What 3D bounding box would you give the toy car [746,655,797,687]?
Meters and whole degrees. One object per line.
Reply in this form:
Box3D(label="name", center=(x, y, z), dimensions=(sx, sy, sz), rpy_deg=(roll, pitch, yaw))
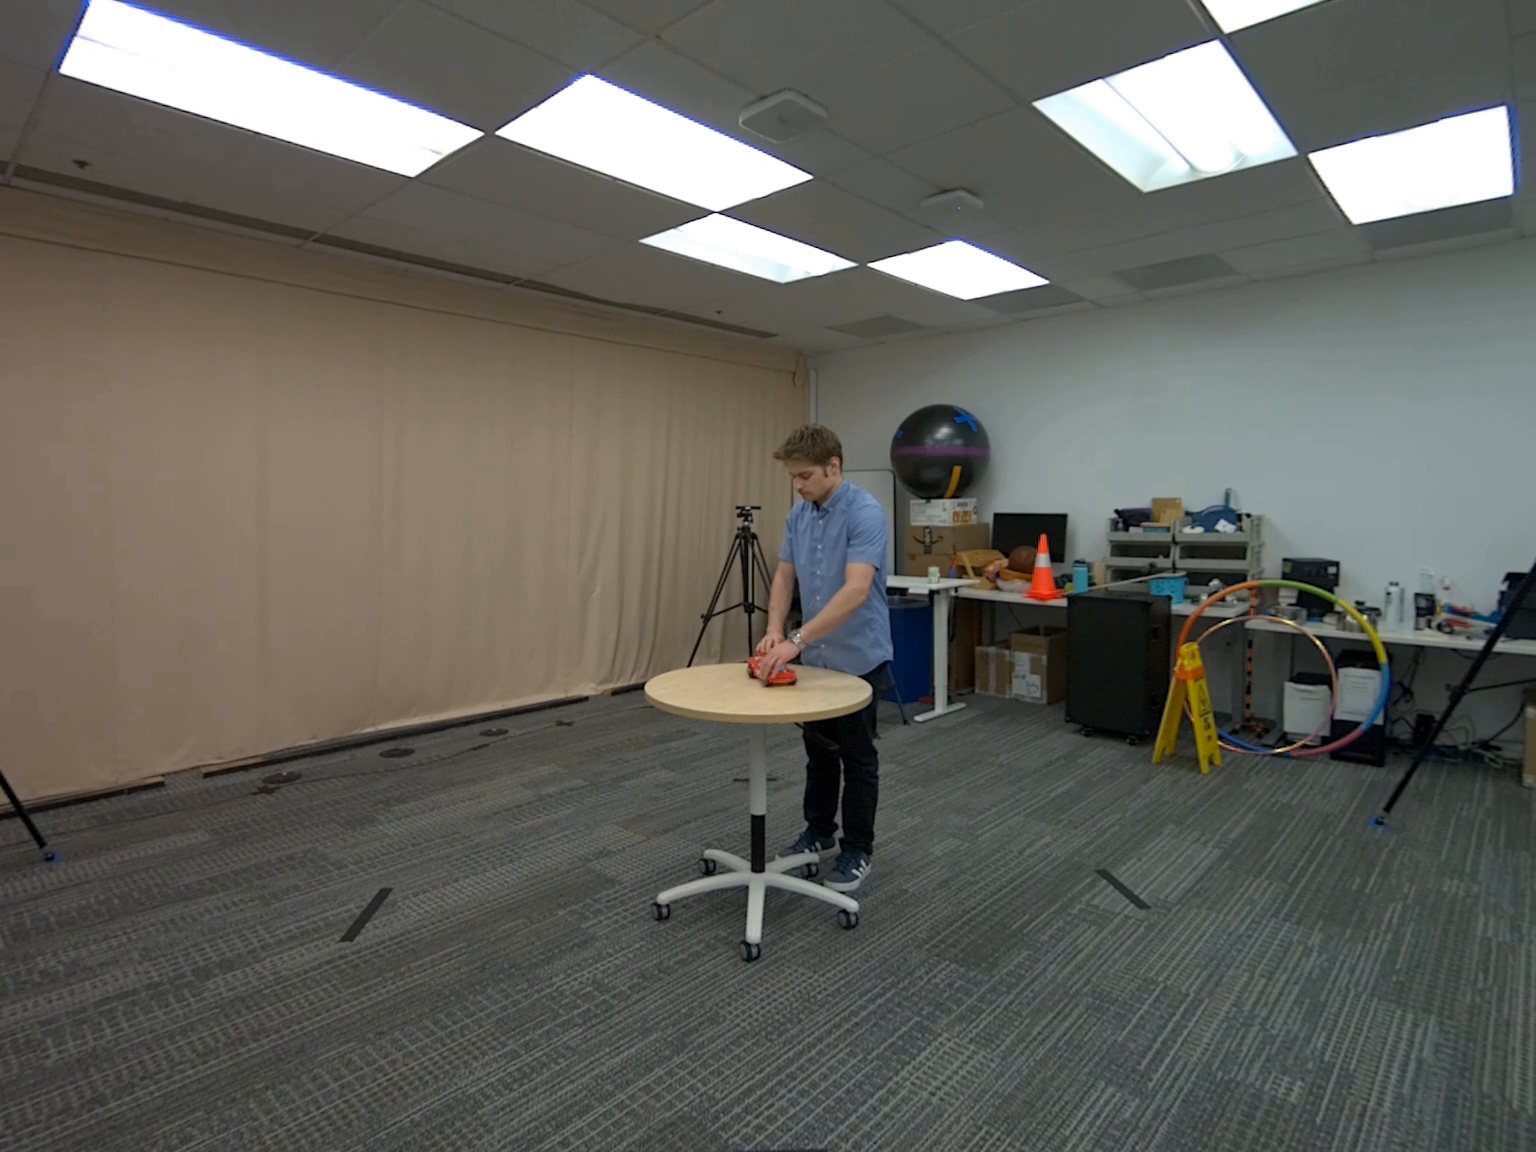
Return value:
Box3D(label="toy car", center=(0.006, 0.334, 2.939), dimensions=(0.128, 0.082, 0.261), rpy_deg=(0, 16, -18))
